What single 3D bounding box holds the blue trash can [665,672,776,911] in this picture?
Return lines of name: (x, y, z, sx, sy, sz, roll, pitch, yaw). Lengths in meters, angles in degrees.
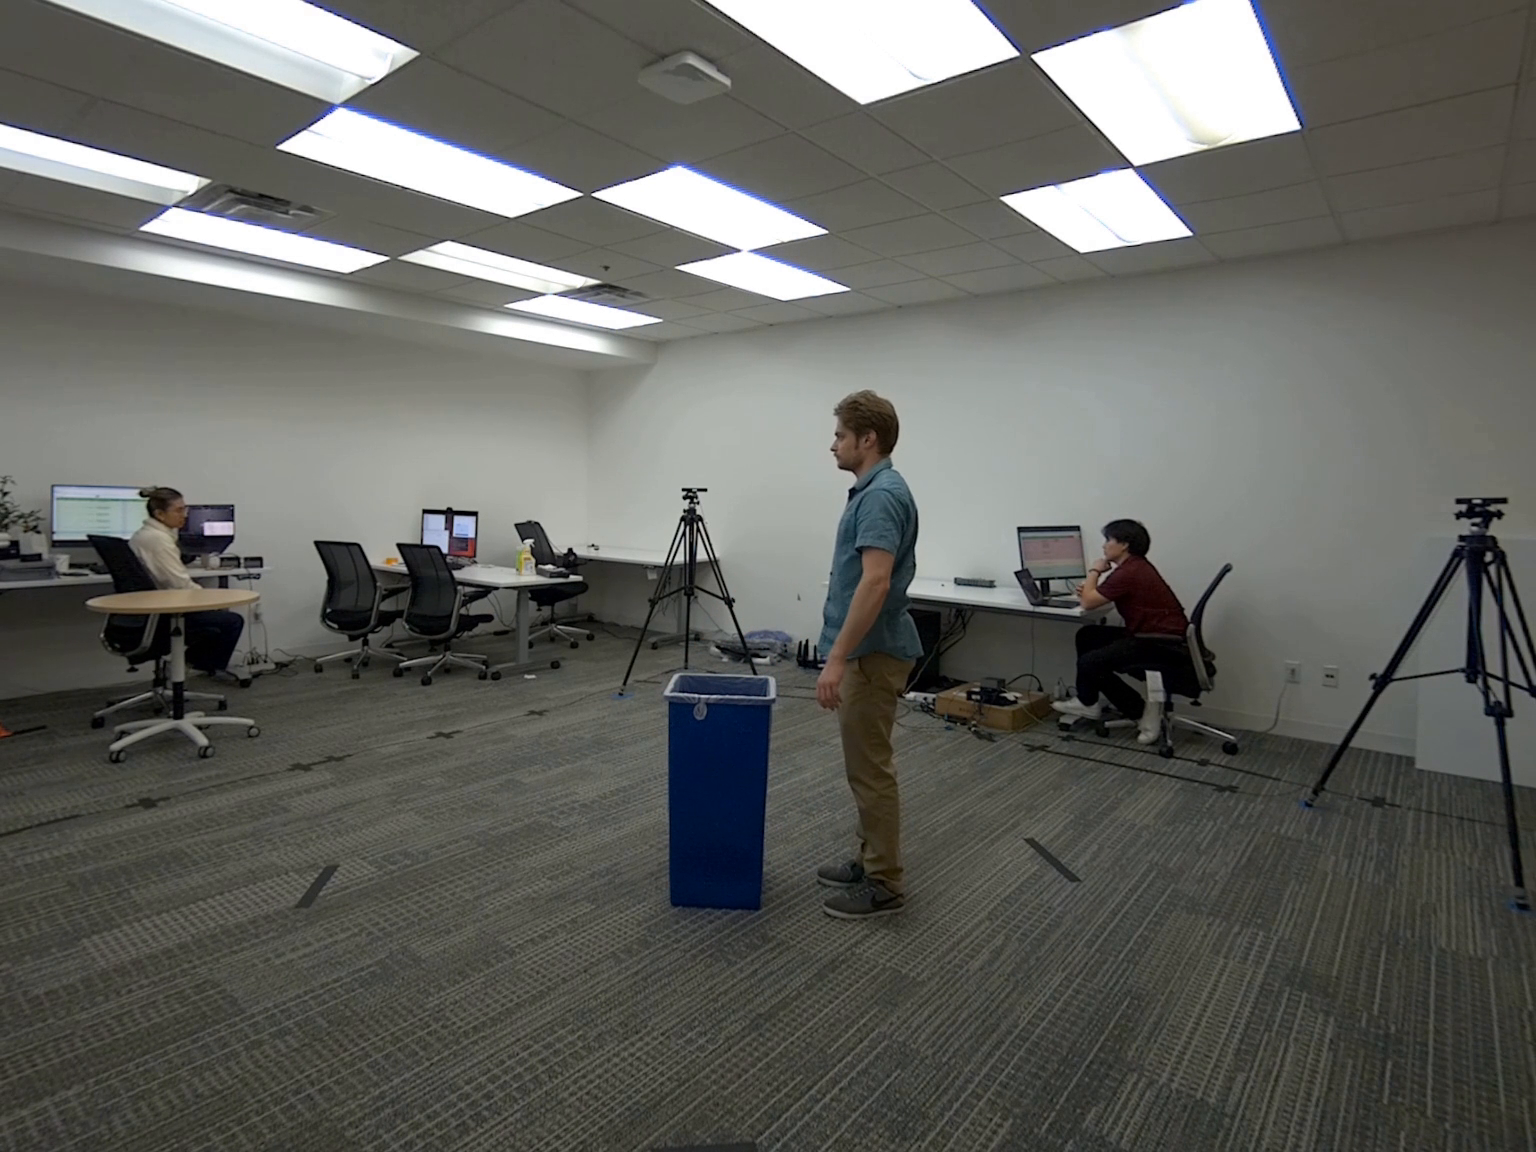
blue trash can: (-0.168, 0.725, 2.959, 0.375, 0.712, 0.378, 0, 2, 1)
